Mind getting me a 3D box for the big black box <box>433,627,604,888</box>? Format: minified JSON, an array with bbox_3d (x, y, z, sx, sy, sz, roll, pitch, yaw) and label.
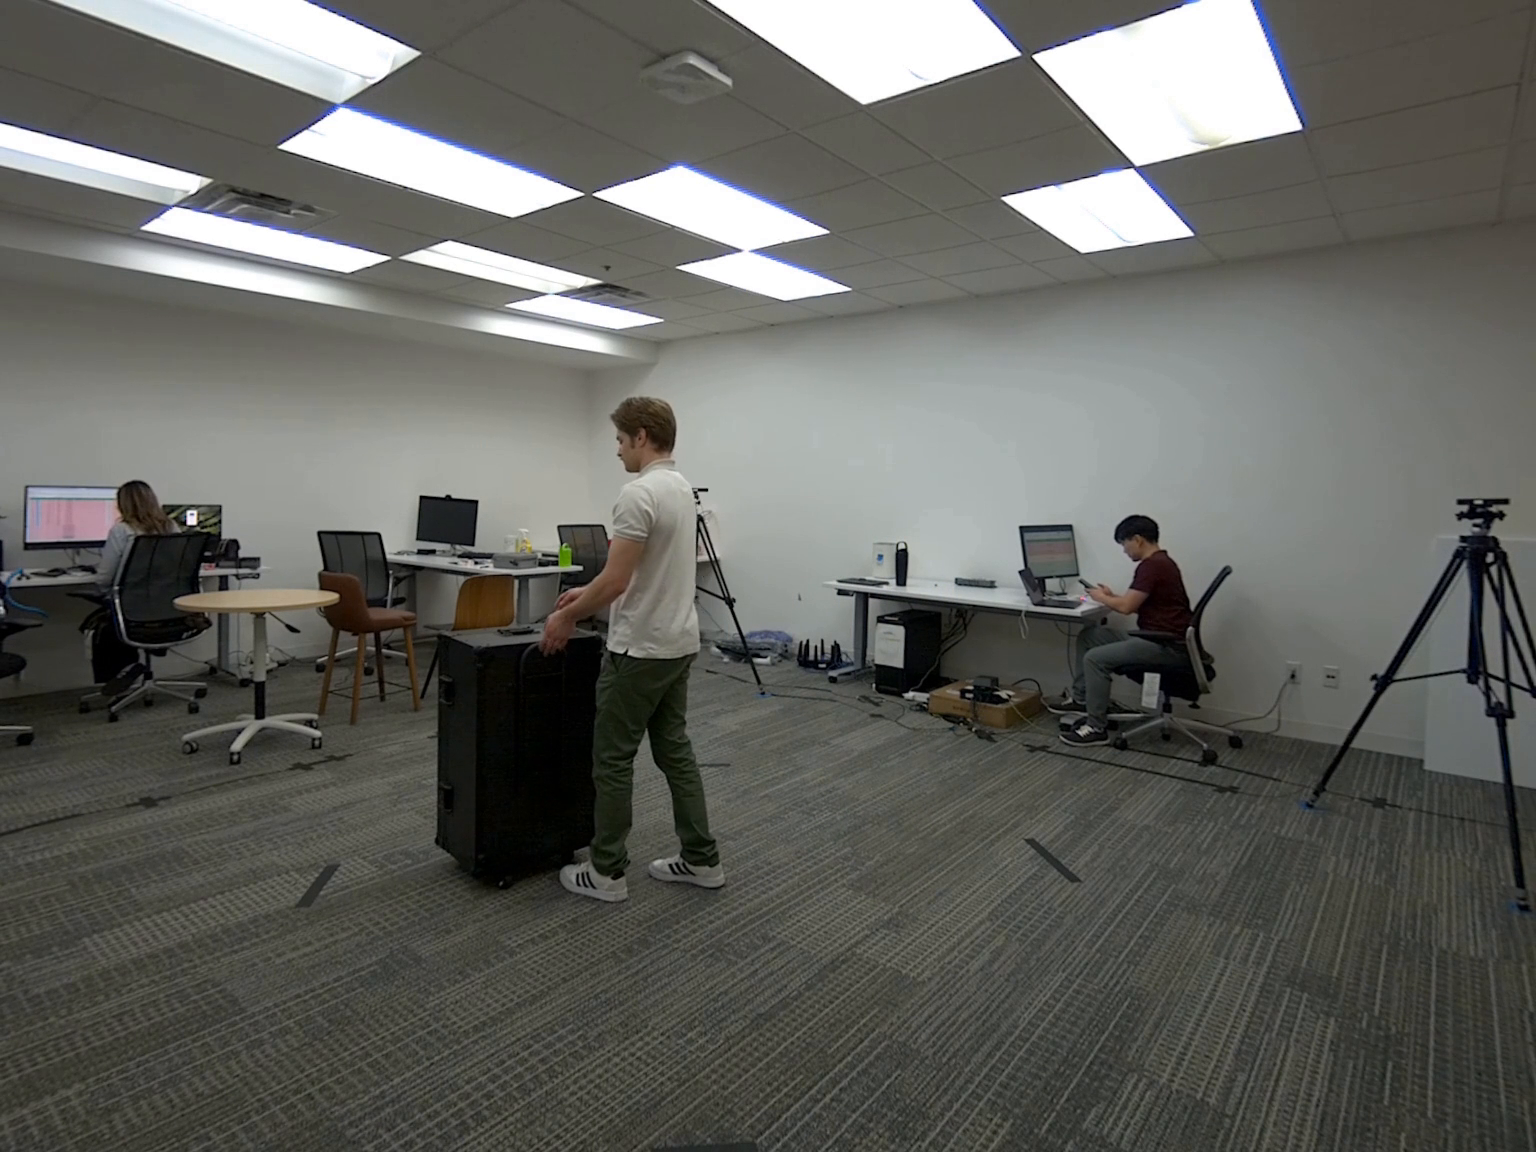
[{"bbox_3d":[-0.925,0.635,3.122,0.507,0.866,0.398,-1,5,-40],"label":"big black box"}]
